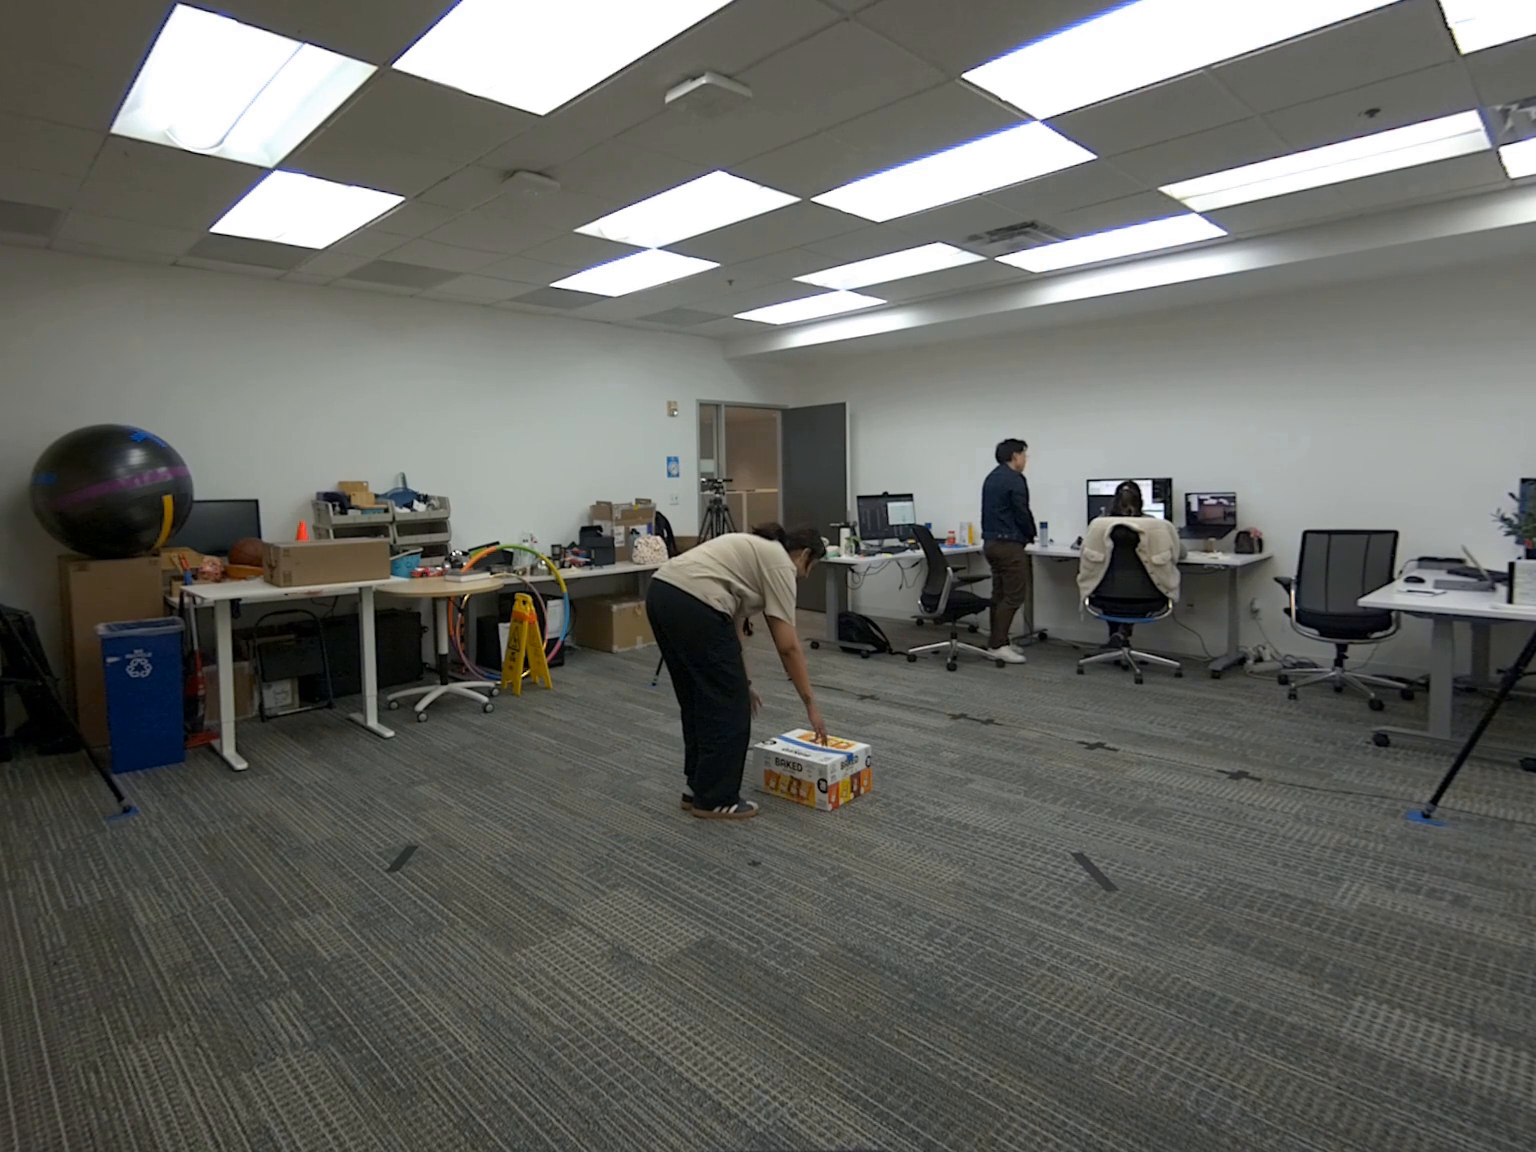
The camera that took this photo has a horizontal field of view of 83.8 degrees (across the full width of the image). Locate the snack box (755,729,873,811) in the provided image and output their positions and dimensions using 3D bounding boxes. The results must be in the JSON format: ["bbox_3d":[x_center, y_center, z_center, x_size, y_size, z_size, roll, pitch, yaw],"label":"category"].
[{"bbox_3d":[0.198,0.858,3.828,0.417,0.205,0.331,4,7,40],"label":"snack box"}]
